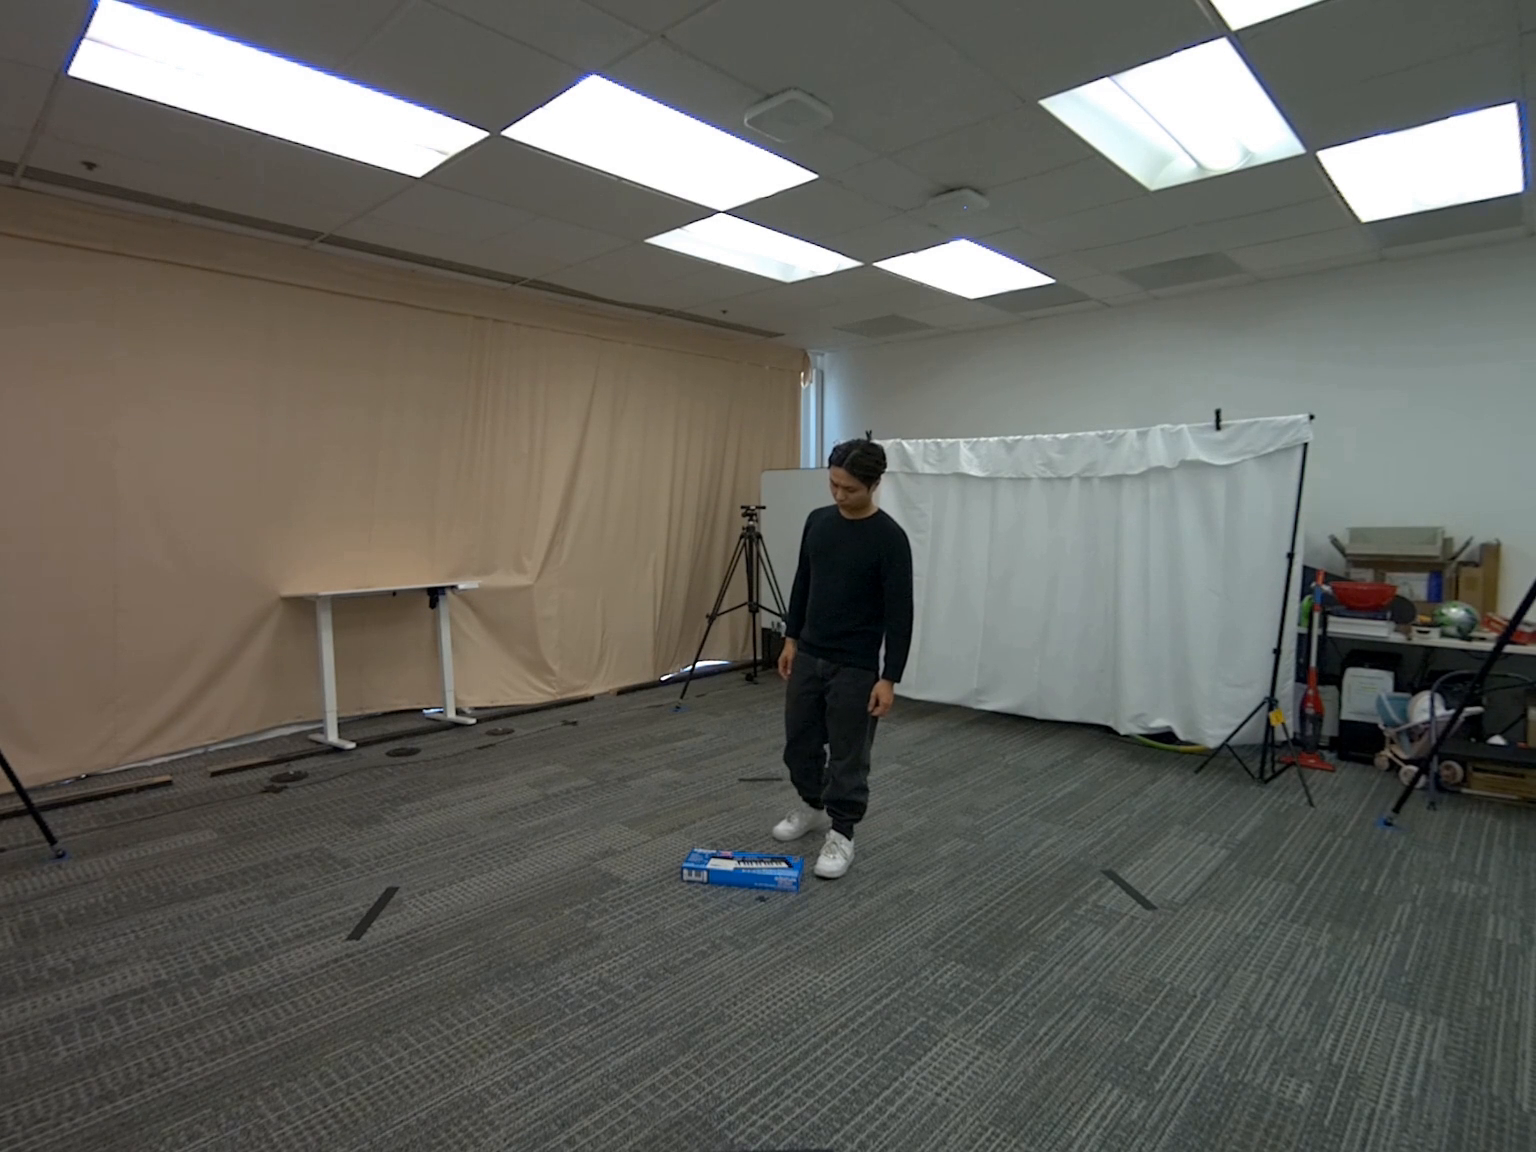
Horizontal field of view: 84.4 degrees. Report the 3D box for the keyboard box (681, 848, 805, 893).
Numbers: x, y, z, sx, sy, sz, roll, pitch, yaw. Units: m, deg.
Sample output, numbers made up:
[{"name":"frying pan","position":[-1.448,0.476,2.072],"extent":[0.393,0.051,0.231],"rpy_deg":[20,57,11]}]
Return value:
[{"name":"keyboard box","position":[-0.088,1.096,3.154],"extent":[0.443,0.059,0.174],"rpy_deg":[1,6,12]}]
